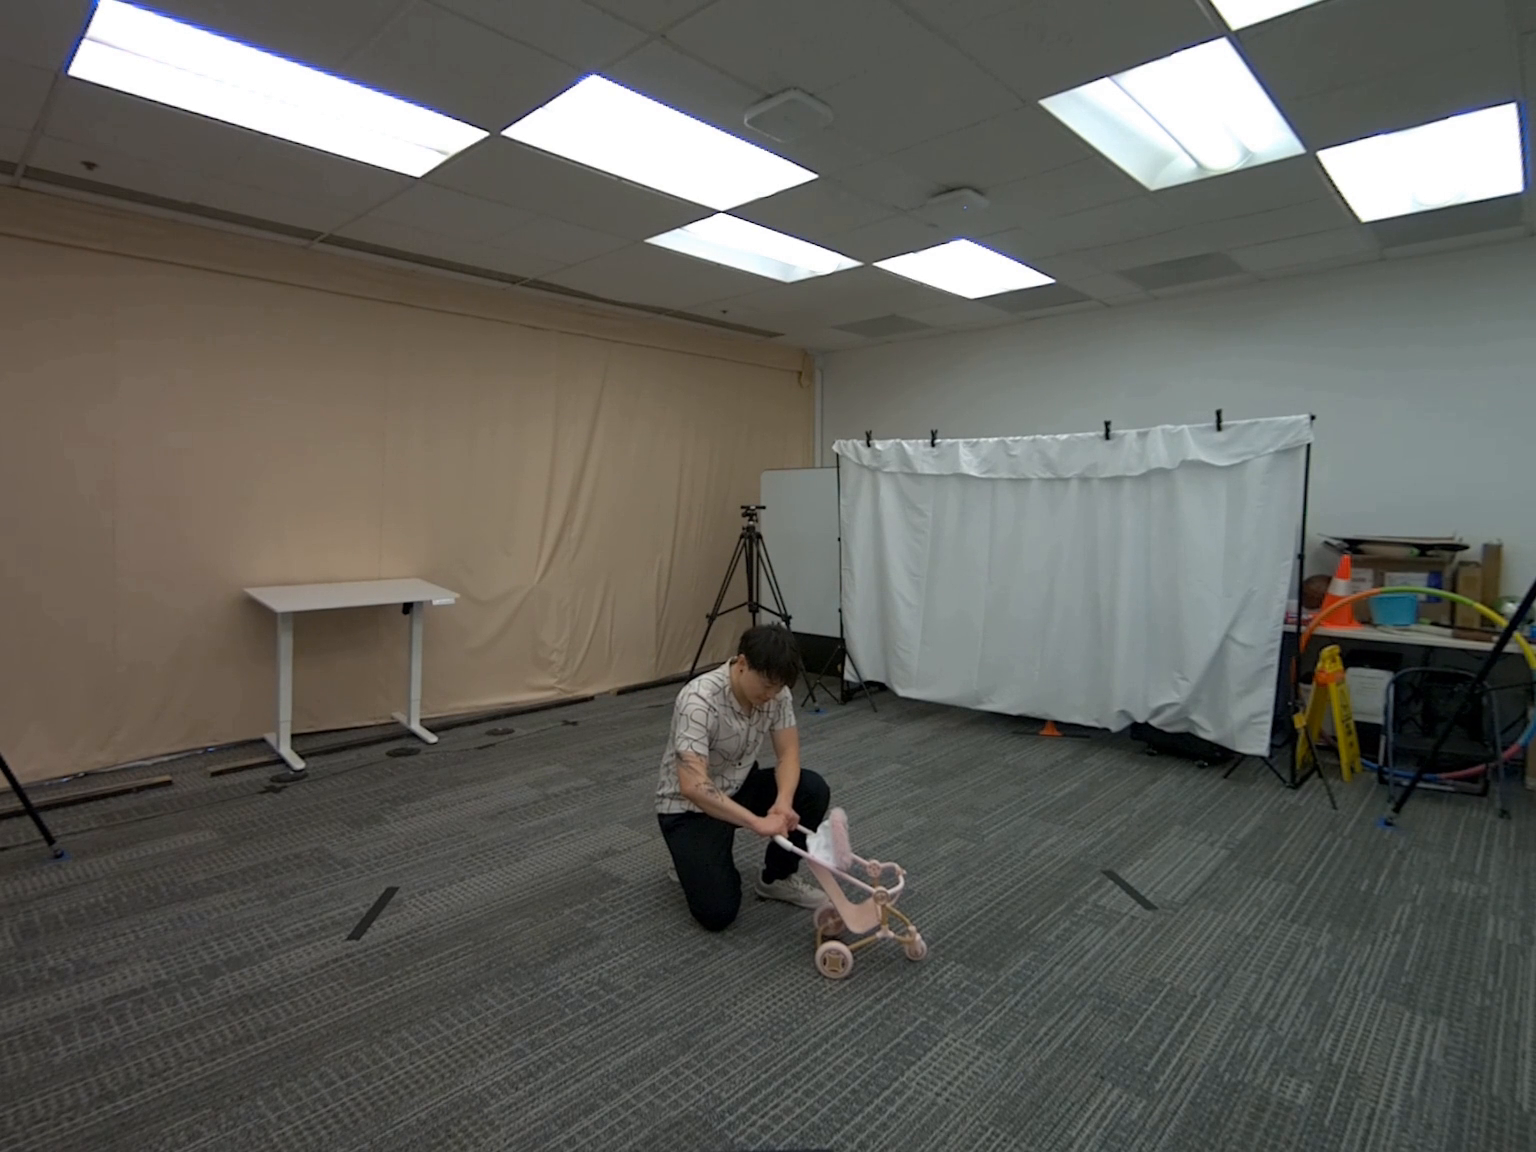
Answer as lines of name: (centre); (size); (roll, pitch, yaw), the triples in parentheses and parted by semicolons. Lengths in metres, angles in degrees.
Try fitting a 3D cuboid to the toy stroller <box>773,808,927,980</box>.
toy stroller: (0.266, 0.957, 2.583); (0.344, 0.534, 0.279); (-17, 1, 9)
